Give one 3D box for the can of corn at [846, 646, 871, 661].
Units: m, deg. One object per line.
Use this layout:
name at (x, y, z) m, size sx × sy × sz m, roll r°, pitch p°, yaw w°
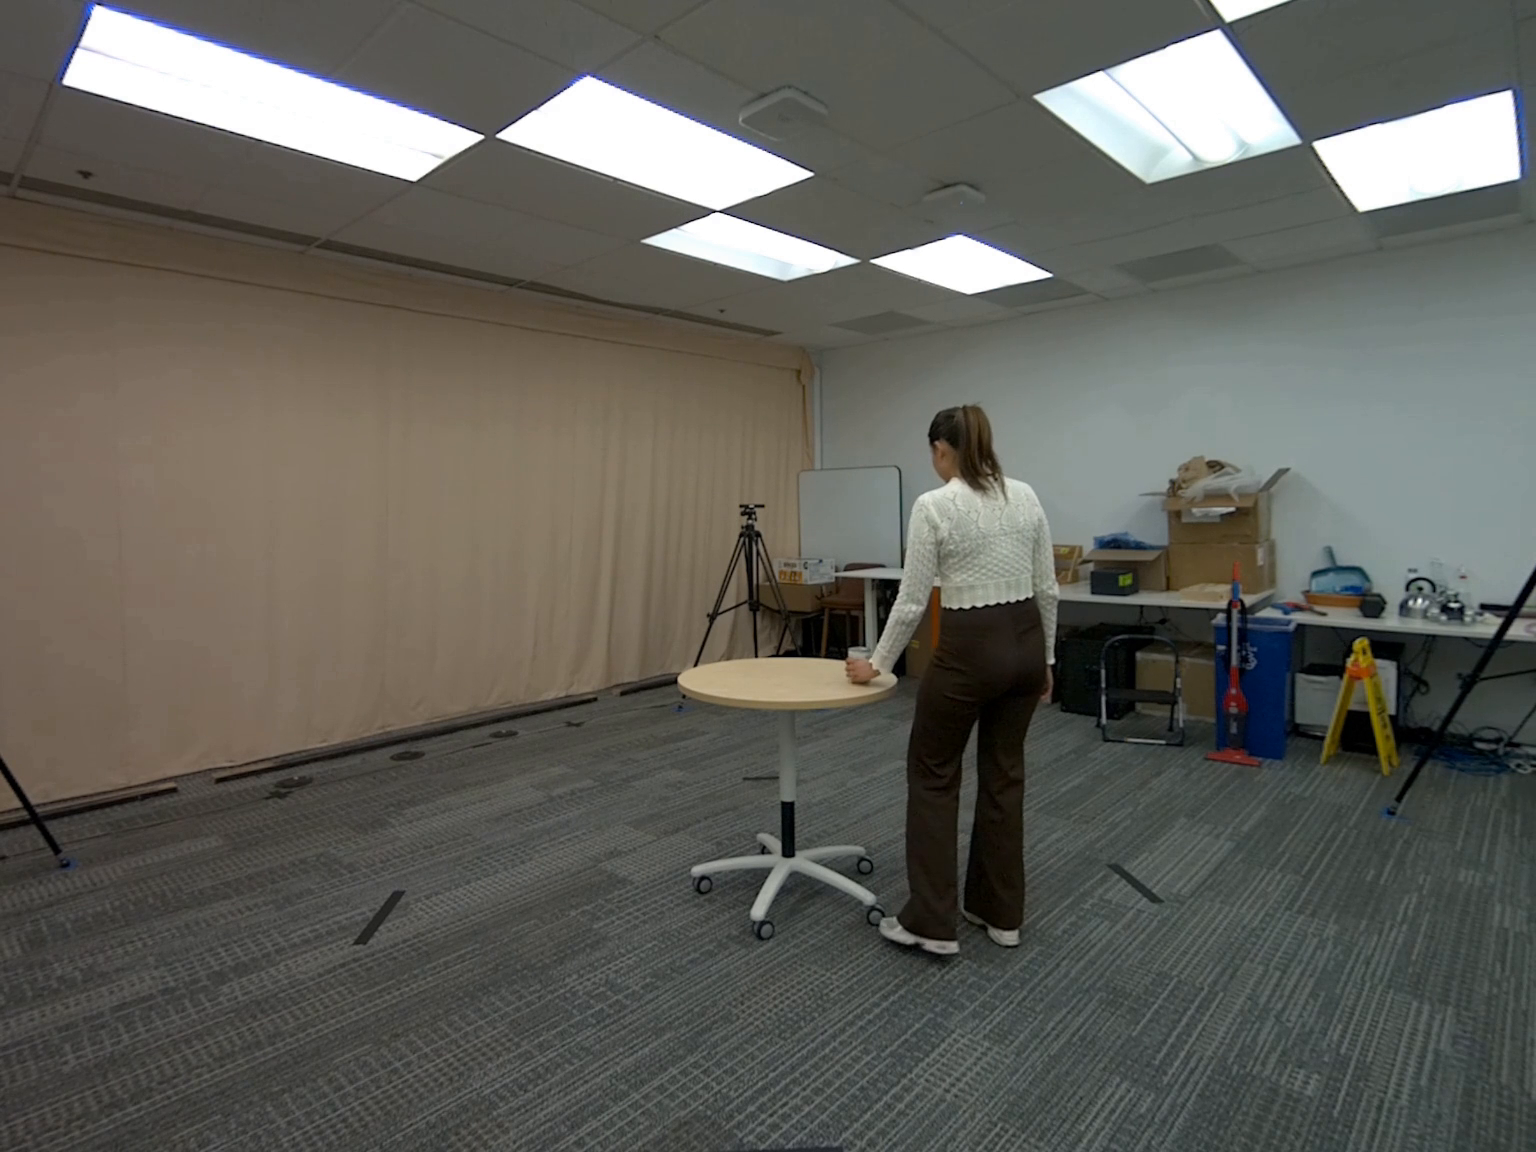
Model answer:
can of corn at (0.317, 0.306, 2.856) m, size 0.074 × 0.111 × 0.074 m, roll 0°, pitch 4°, yaw -2°
